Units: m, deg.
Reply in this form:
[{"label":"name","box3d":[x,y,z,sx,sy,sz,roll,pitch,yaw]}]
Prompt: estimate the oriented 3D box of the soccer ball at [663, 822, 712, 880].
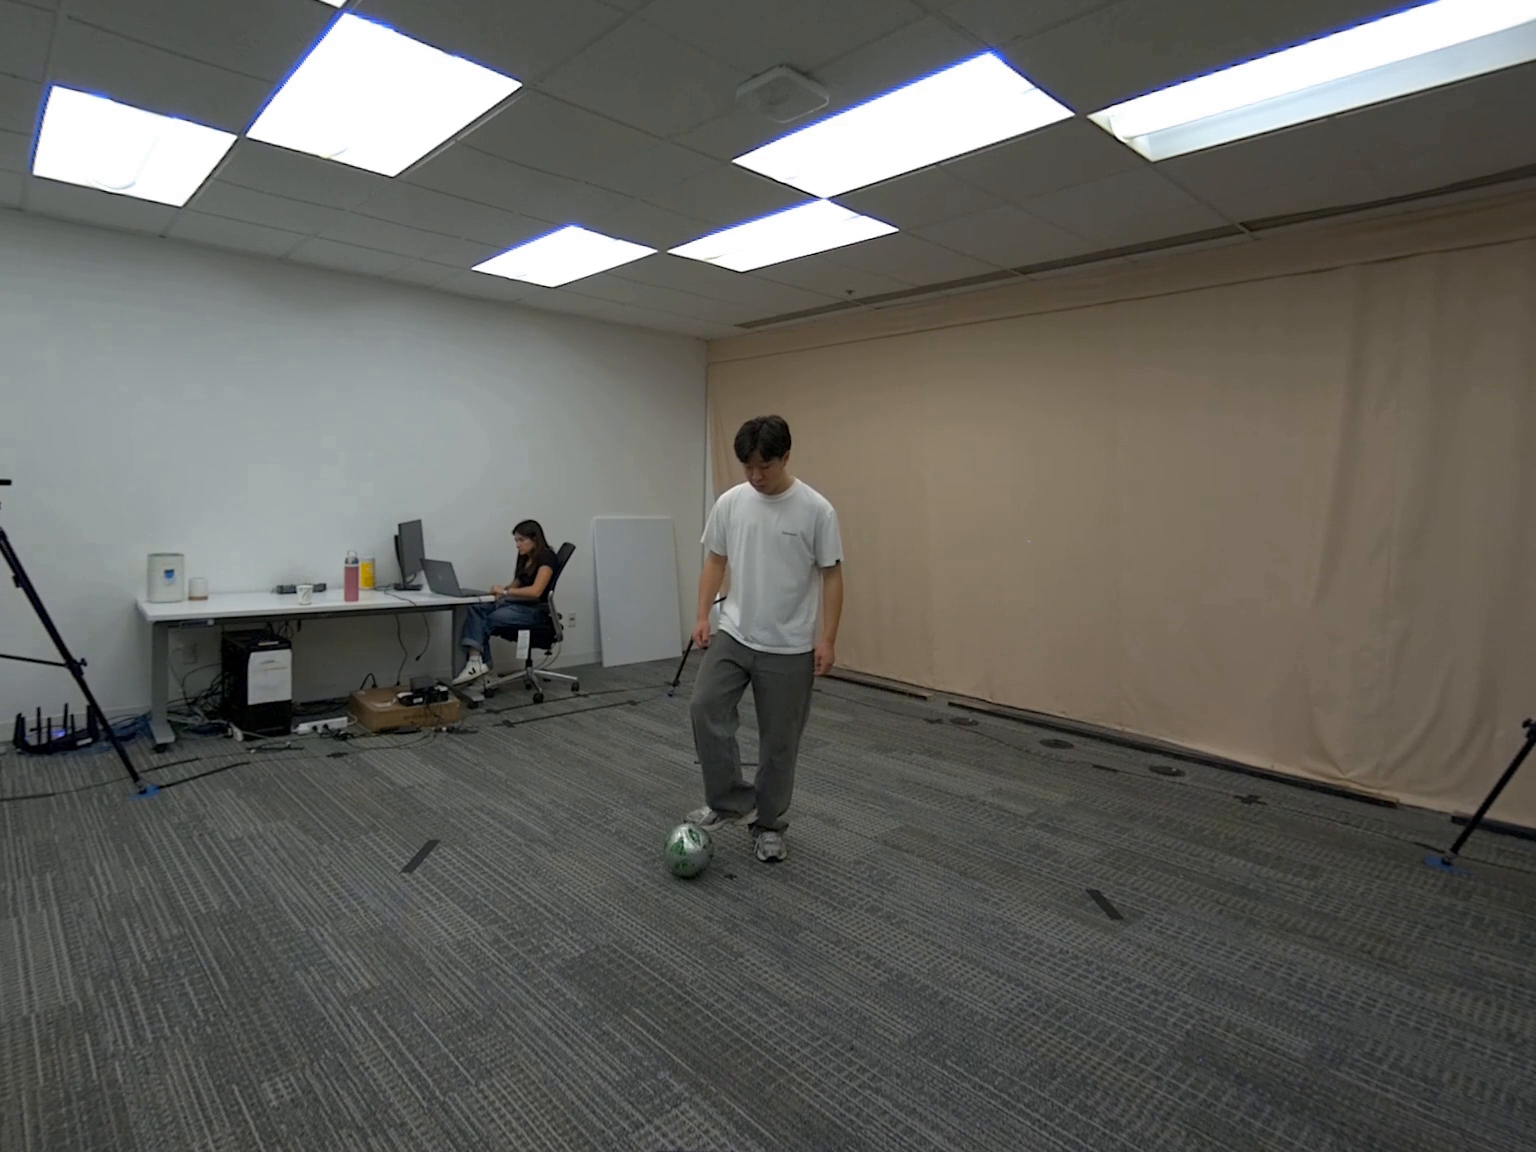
[{"label":"soccer ball","box3d":[-0.302,1.009,3.099,0.187,0.187,0.188,1,4,-1]}]
